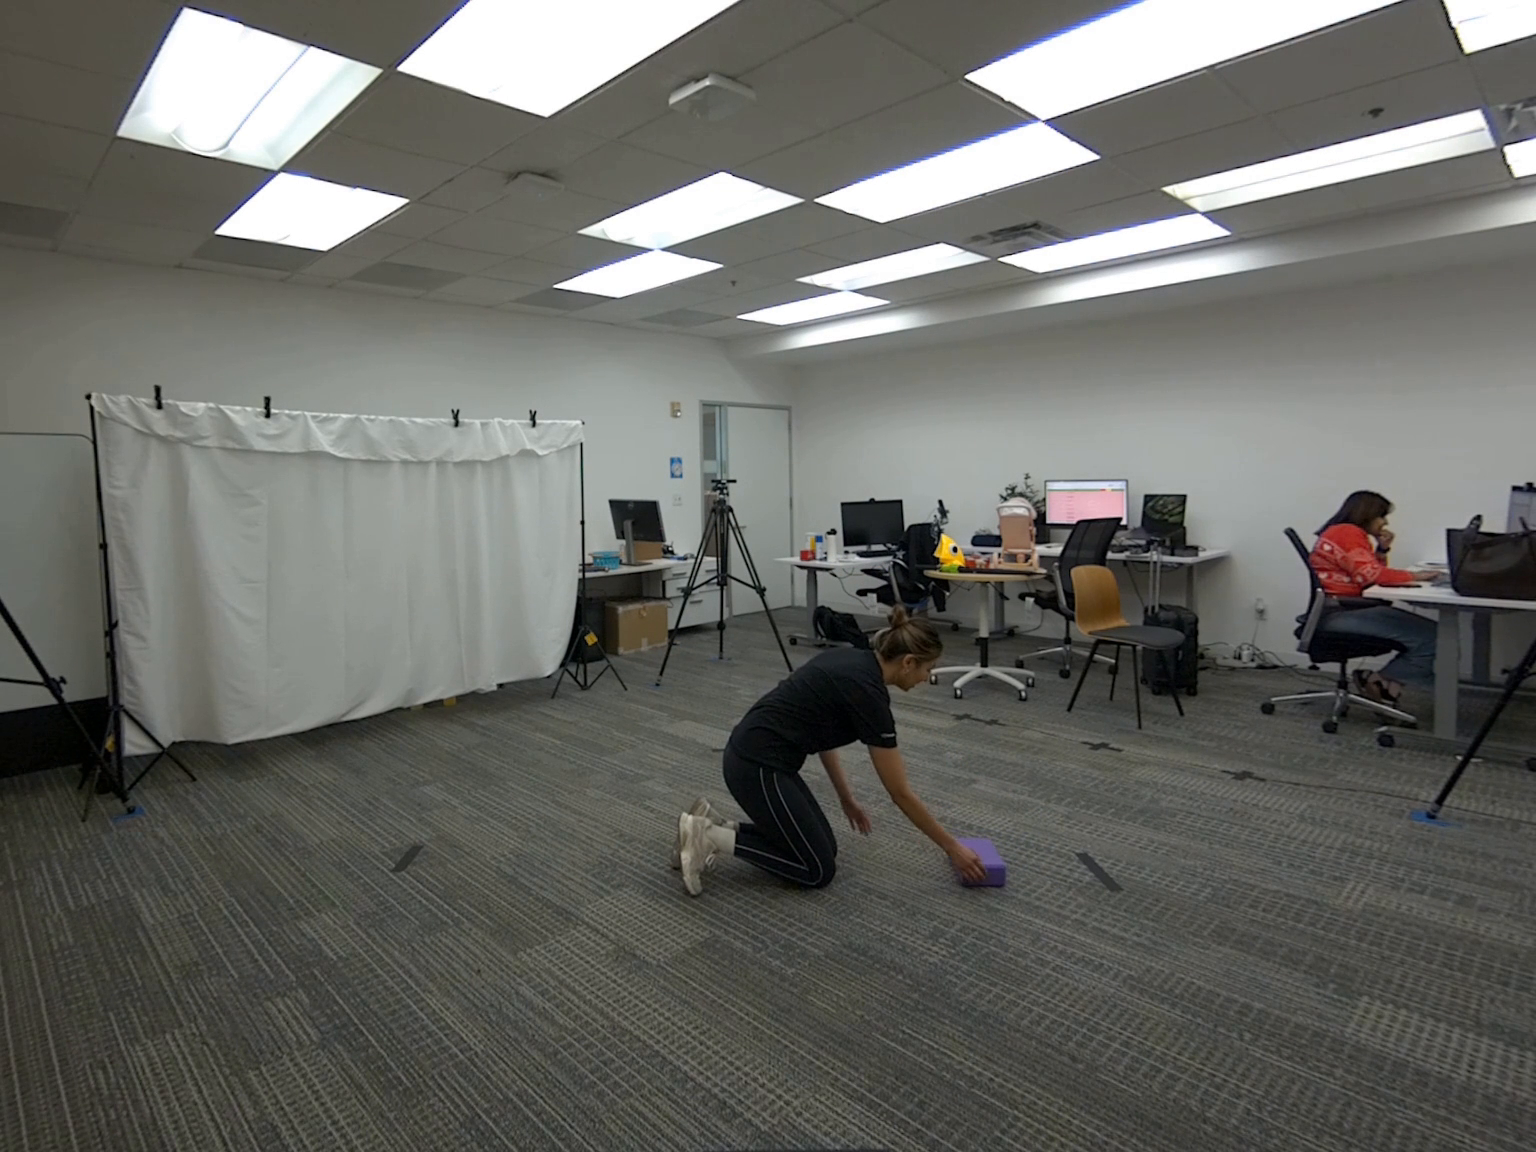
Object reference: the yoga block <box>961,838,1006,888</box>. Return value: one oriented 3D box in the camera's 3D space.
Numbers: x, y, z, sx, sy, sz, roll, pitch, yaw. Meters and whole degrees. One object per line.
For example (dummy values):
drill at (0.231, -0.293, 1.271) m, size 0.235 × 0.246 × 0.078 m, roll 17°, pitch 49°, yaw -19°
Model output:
yoga block at (0.730, 0.999, 3.004) m, size 0.149 × 0.076 × 0.230 m, roll 0°, pitch 7°, yaw 1°
